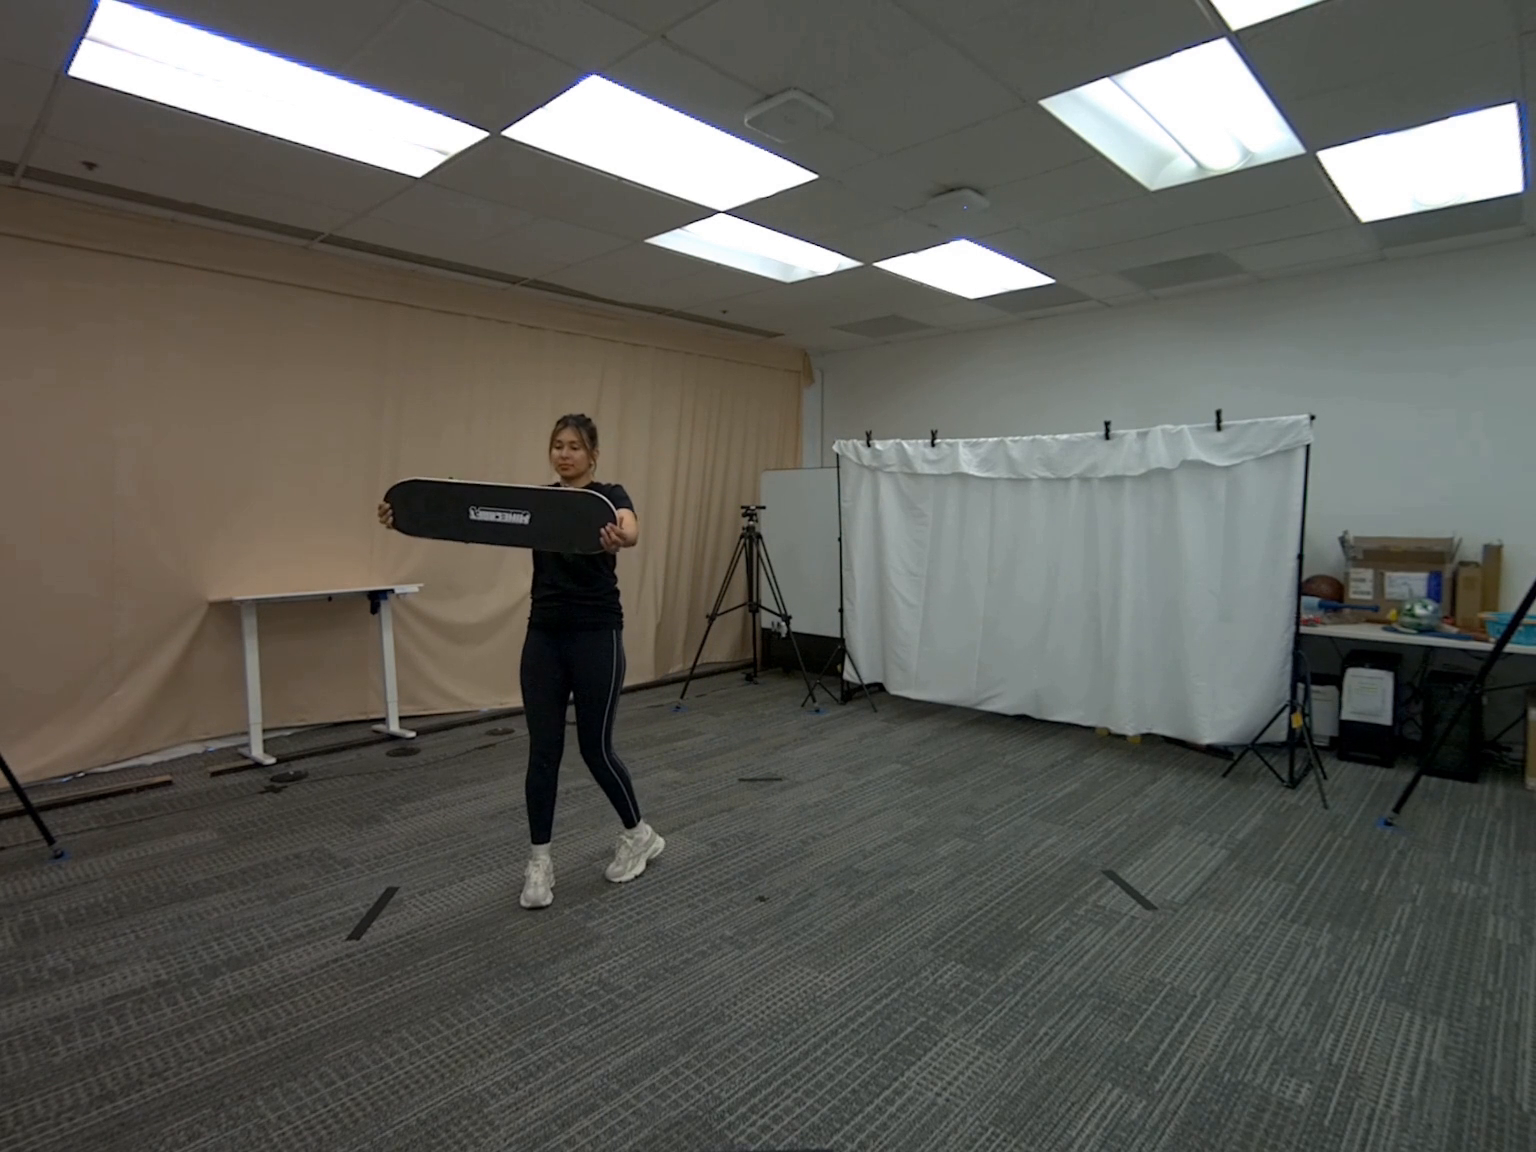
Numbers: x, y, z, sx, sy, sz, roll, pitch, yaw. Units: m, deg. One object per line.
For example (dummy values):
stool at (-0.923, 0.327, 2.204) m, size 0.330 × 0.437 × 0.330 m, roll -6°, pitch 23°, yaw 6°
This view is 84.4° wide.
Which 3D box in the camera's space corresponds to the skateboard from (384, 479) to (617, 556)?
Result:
skateboard at (-0.803, -0.192, 2.602) m, size 0.798 × 0.192 × 0.109 m, roll 6°, pitch 14°, yaw 13°
